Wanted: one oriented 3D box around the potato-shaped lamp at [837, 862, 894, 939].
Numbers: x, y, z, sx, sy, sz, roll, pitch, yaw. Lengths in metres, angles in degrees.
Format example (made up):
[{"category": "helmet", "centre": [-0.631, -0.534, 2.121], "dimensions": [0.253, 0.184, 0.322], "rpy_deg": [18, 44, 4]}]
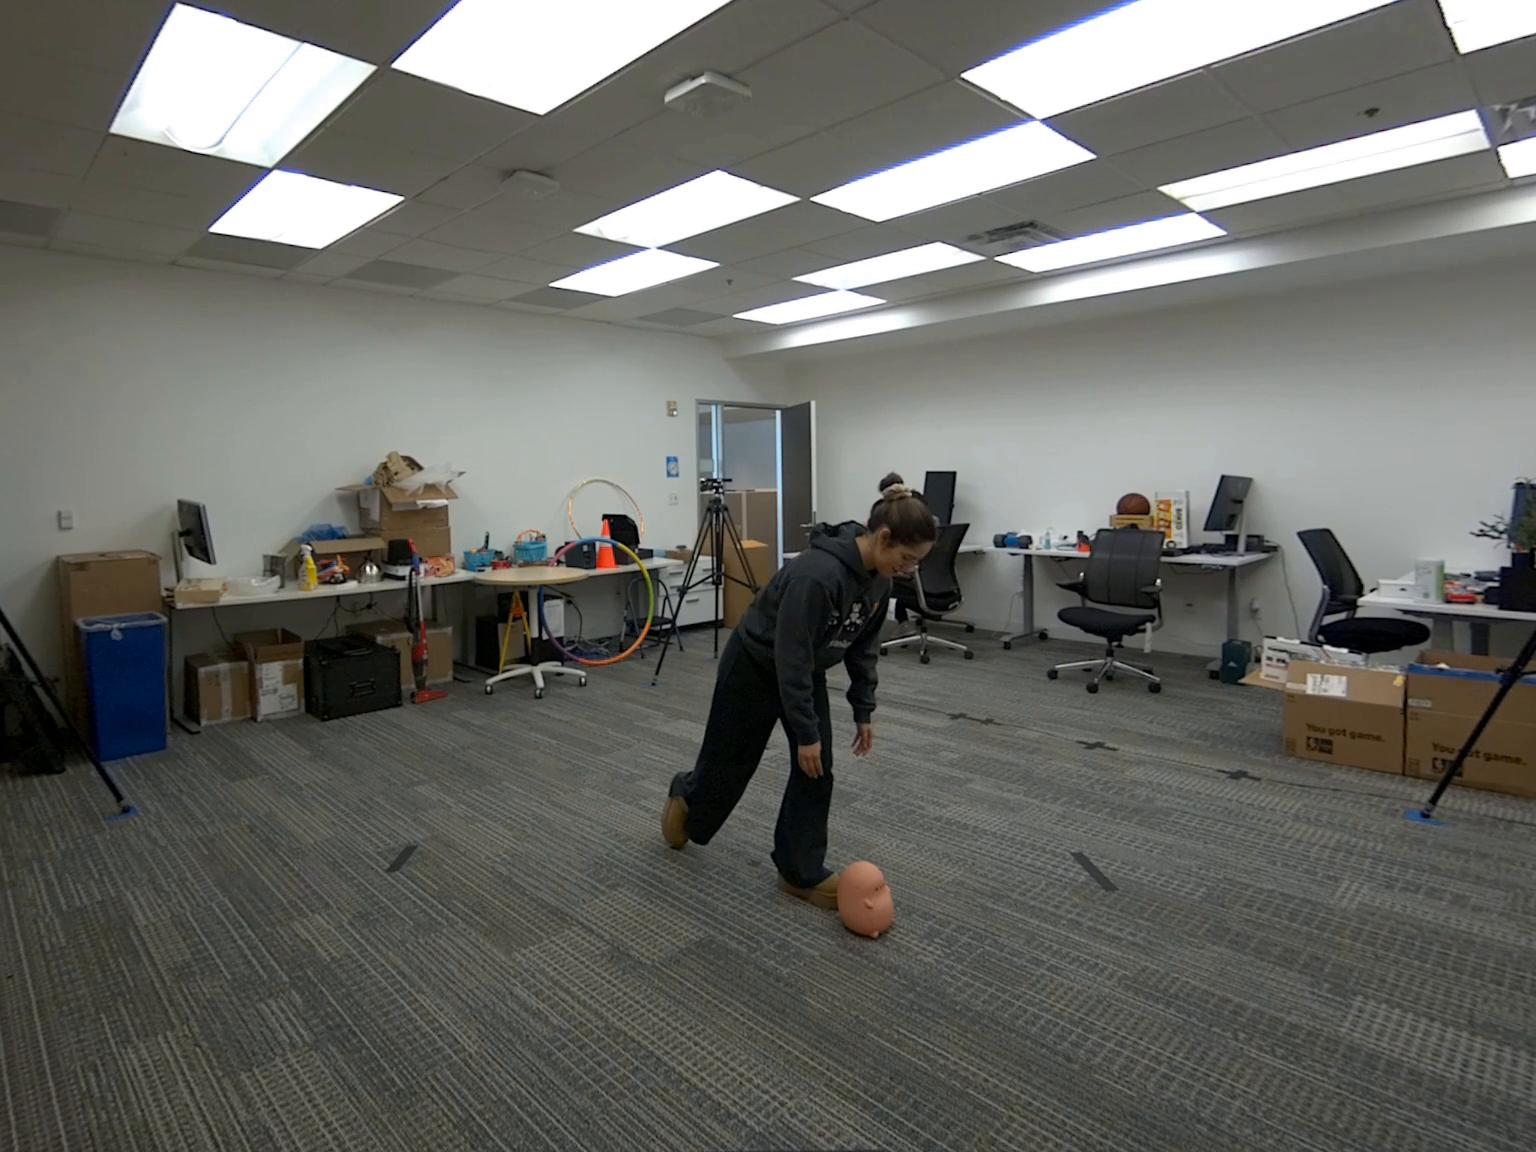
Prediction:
[{"category": "potato-shaped lamp", "centre": [0.303, 0.989, 2.639], "dimensions": [0.176, 0.198, 0.160], "rpy_deg": [-1, 2, 35]}]
